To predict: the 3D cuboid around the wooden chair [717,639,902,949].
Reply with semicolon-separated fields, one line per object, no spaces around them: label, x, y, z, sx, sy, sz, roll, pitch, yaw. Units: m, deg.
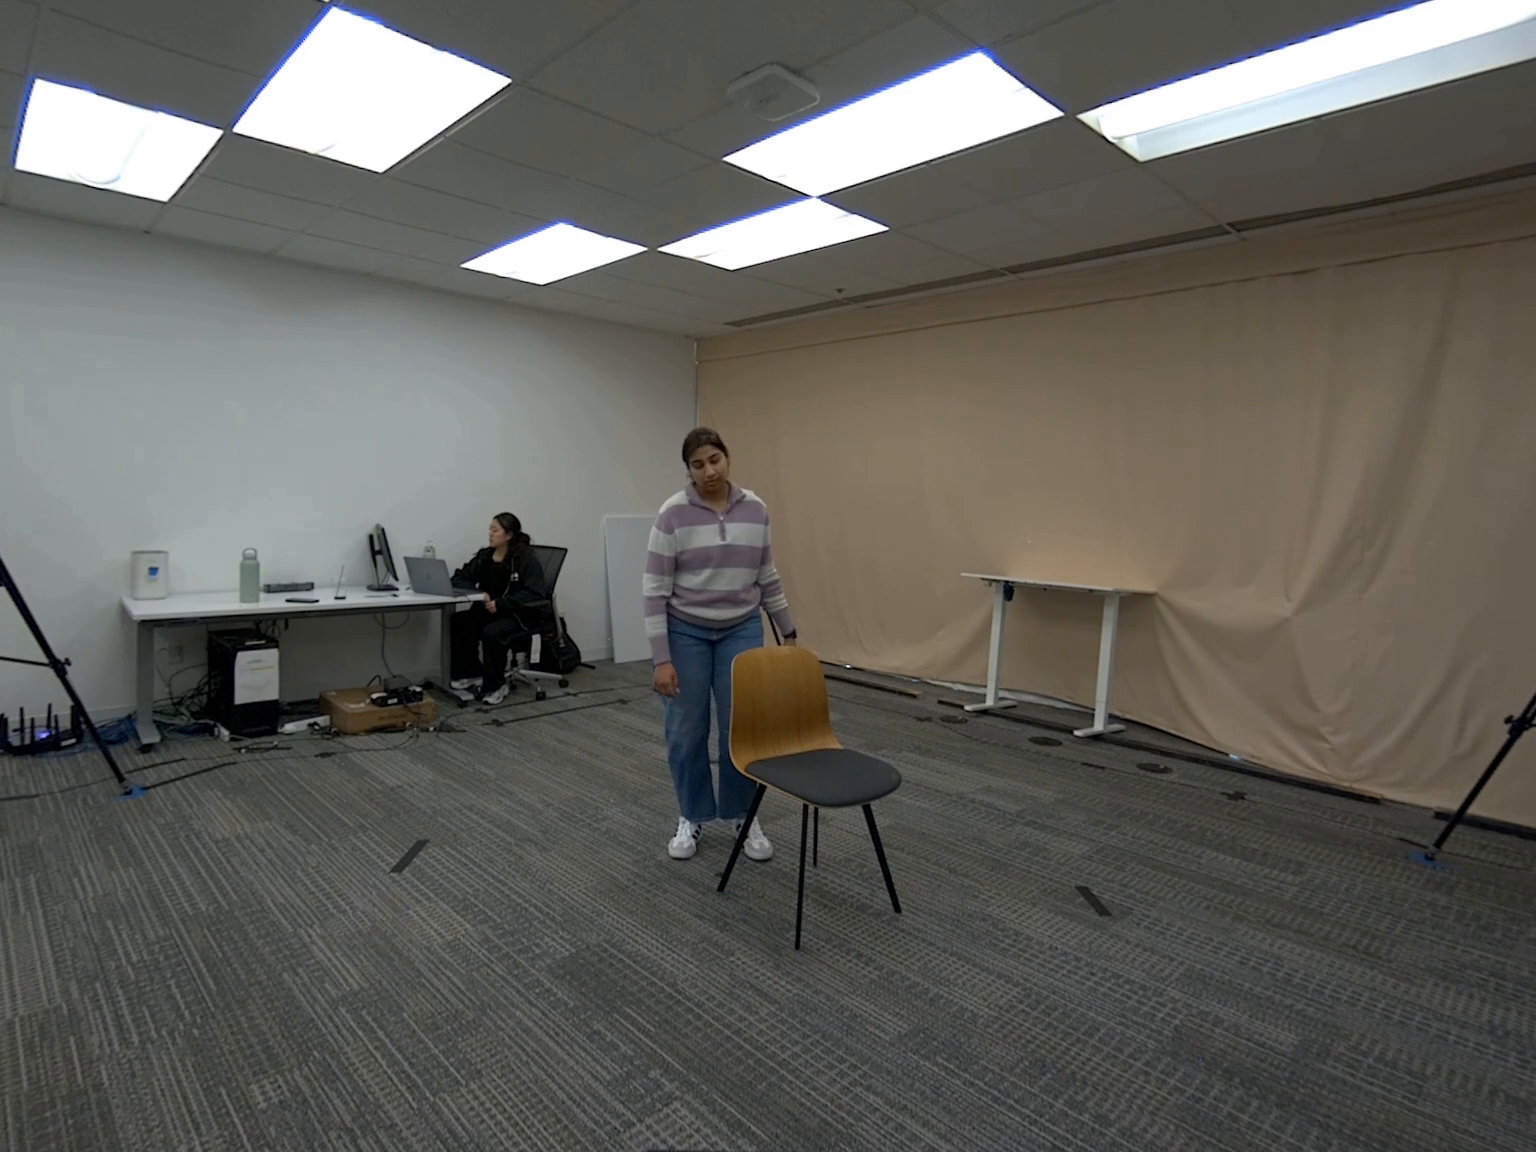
wooden chair;0.149;0.706;2.869;0.467;0.877;0.534;-1;0;-35
